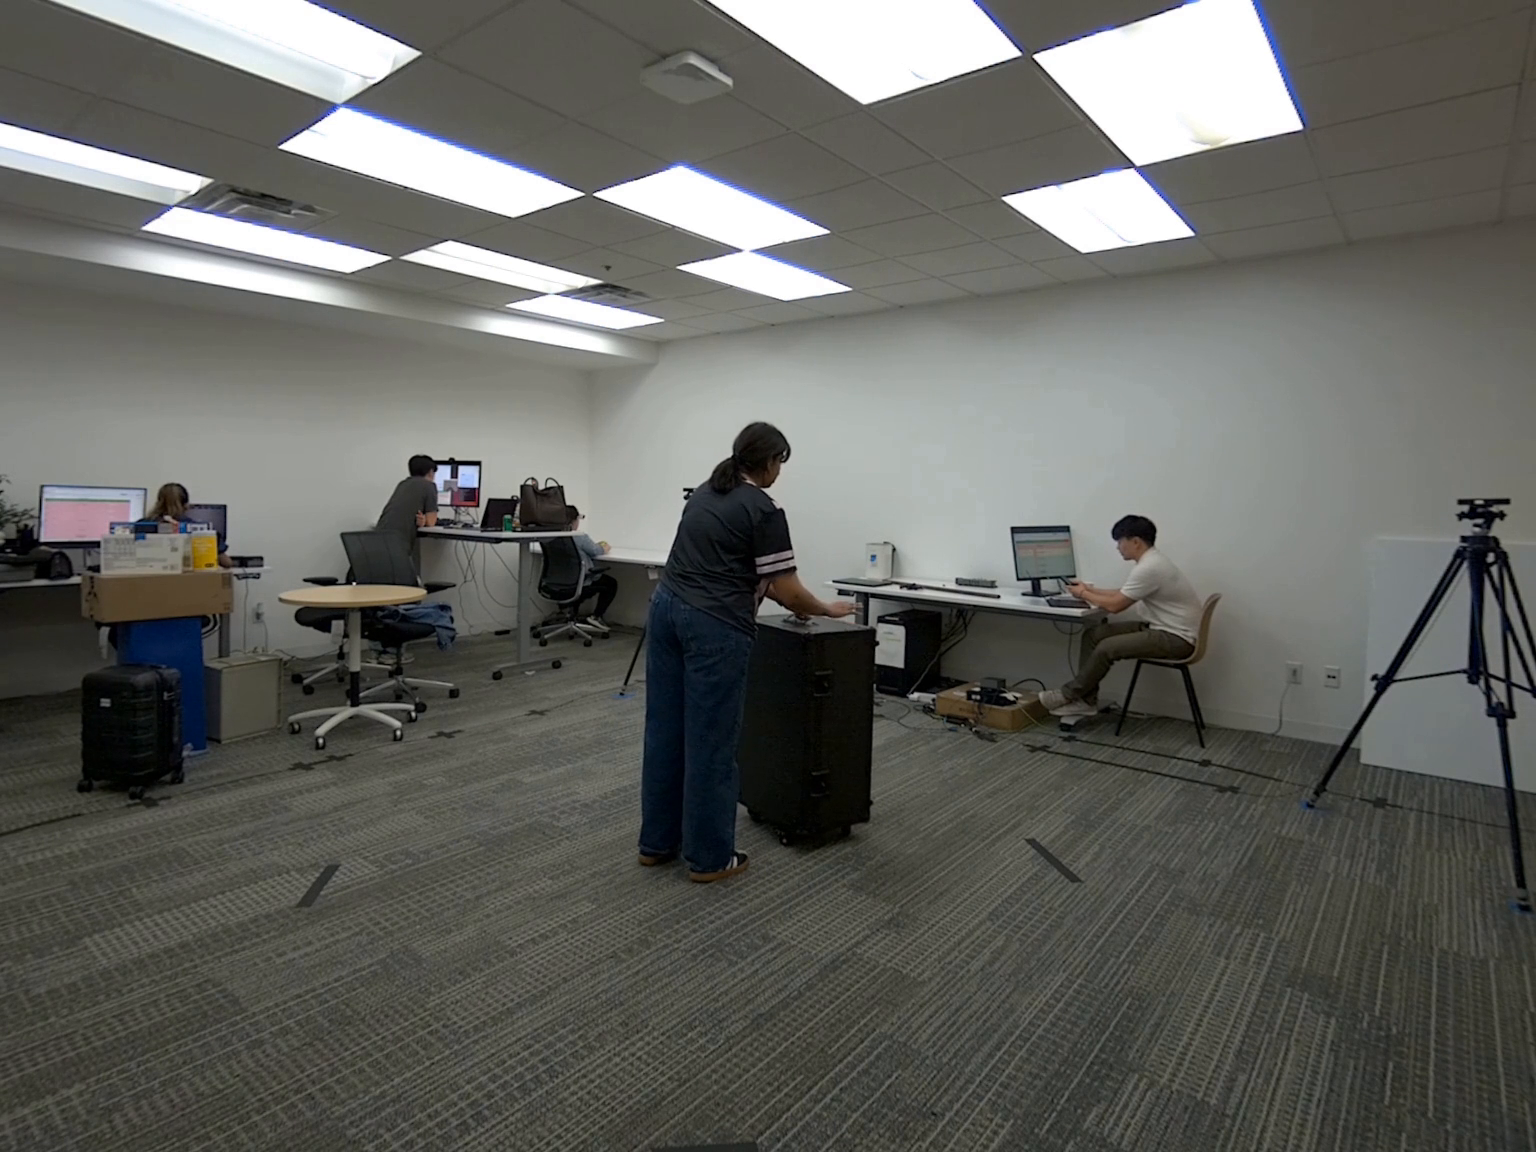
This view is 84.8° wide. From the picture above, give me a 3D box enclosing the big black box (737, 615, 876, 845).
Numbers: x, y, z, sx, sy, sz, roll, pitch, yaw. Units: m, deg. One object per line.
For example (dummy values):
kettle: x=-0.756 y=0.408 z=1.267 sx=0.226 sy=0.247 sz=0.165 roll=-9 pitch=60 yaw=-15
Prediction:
big black box: x=0.132 y=0.616 z=3.519 sx=0.374 sy=0.866 sz=0.540 roll=-1 pitch=4 yaw=-35
